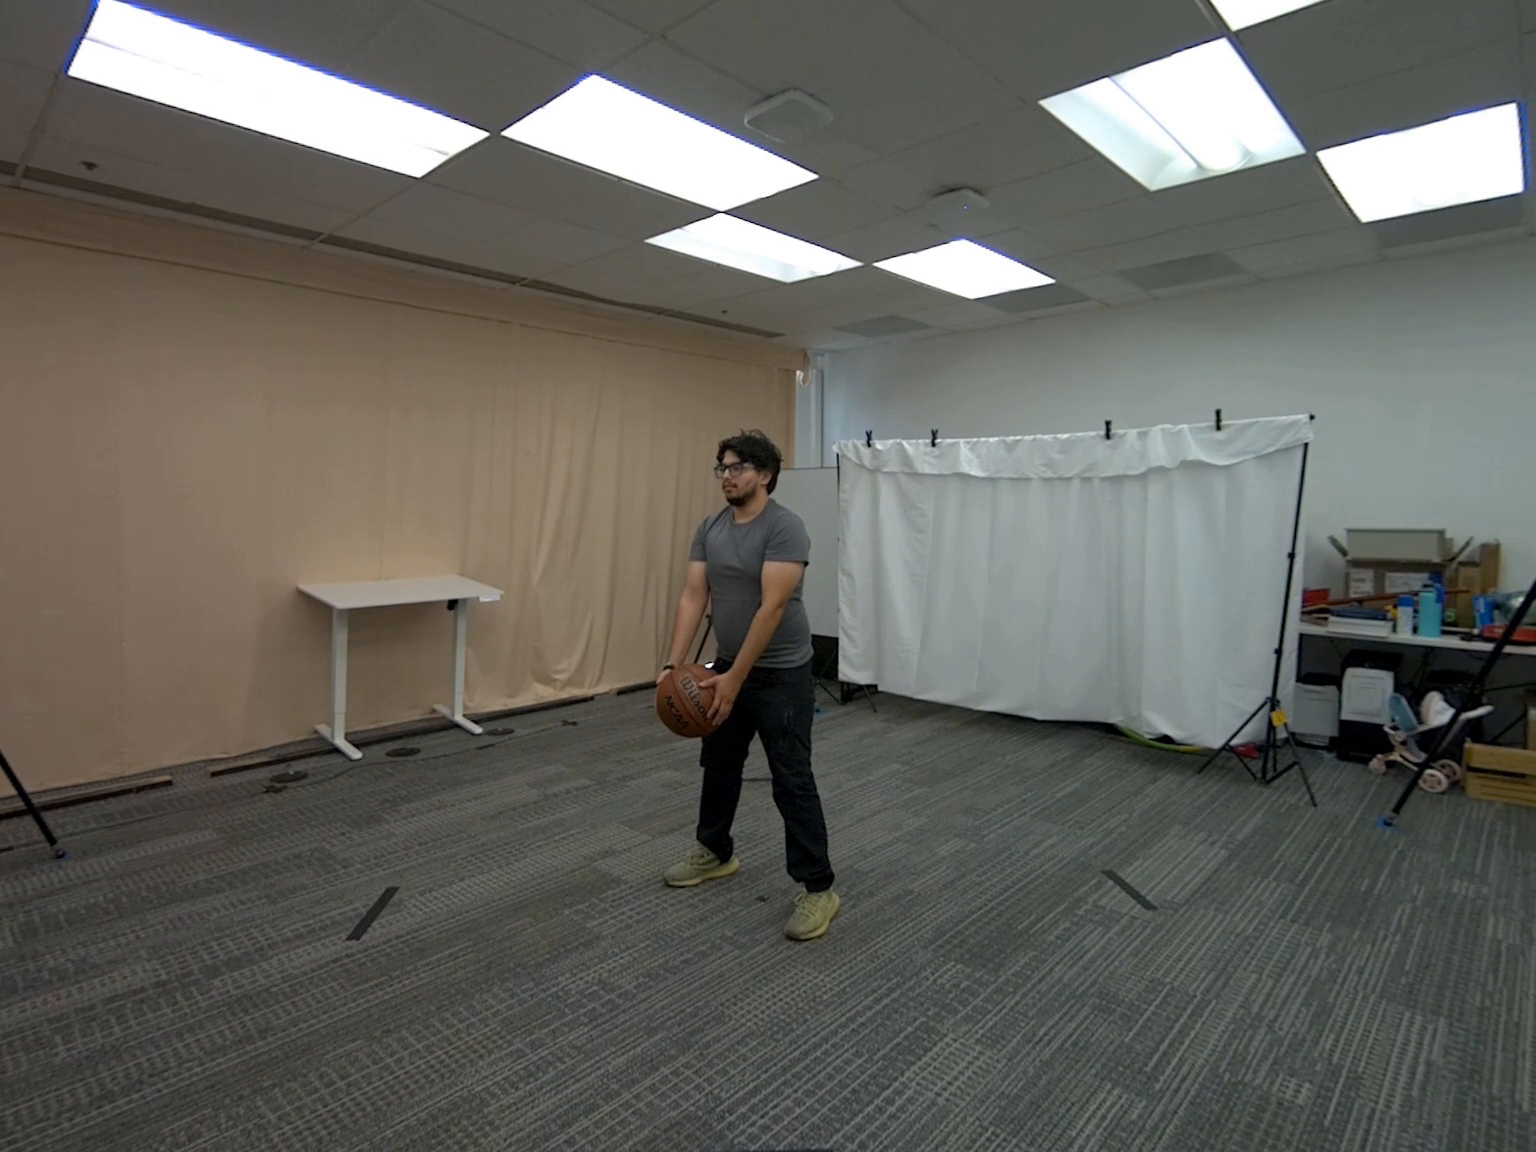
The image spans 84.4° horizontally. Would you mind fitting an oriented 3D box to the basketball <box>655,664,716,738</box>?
[{"bbox_3d":[-0.245,0.401,2.738,0.236,0.235,0.237,0,4,-2],"label":"basketball"}]
